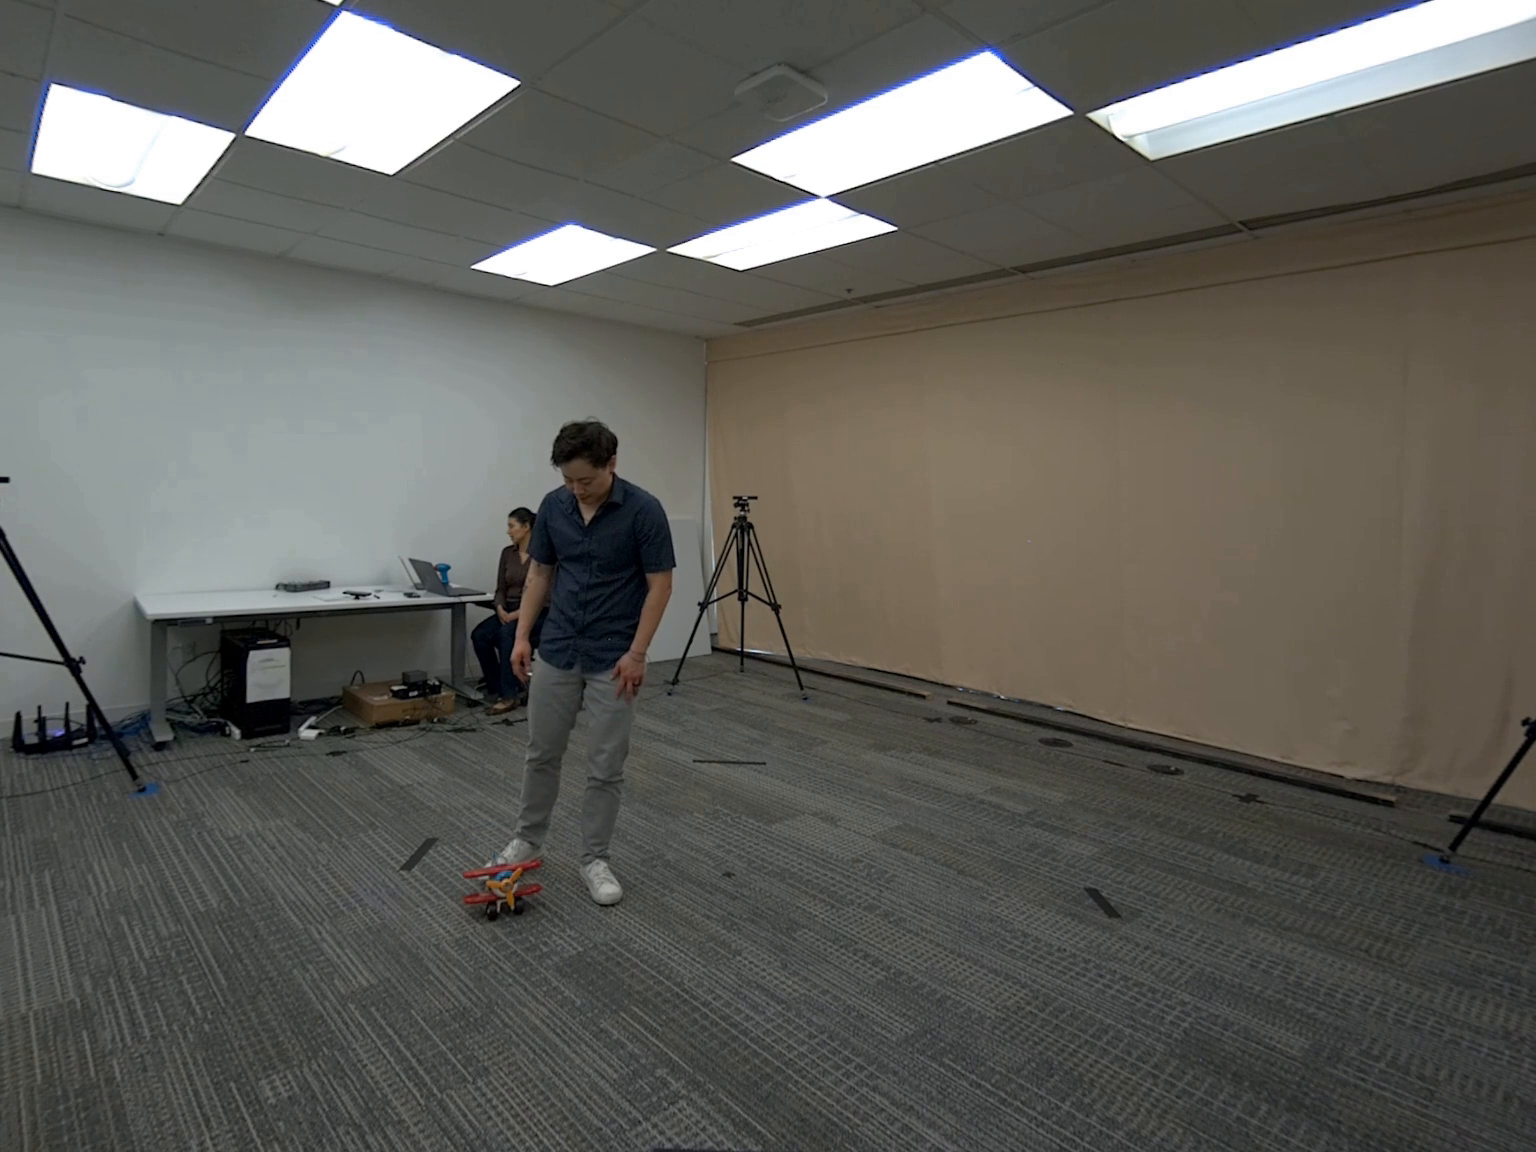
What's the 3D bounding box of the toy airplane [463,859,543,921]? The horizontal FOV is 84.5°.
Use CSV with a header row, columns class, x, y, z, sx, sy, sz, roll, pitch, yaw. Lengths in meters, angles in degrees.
class,x,y,z,sx,sy,sz,roll,pitch,yaw
toy airplane,-0.922,1.041,2.817,0.265,0.156,0.246,6,8,36
